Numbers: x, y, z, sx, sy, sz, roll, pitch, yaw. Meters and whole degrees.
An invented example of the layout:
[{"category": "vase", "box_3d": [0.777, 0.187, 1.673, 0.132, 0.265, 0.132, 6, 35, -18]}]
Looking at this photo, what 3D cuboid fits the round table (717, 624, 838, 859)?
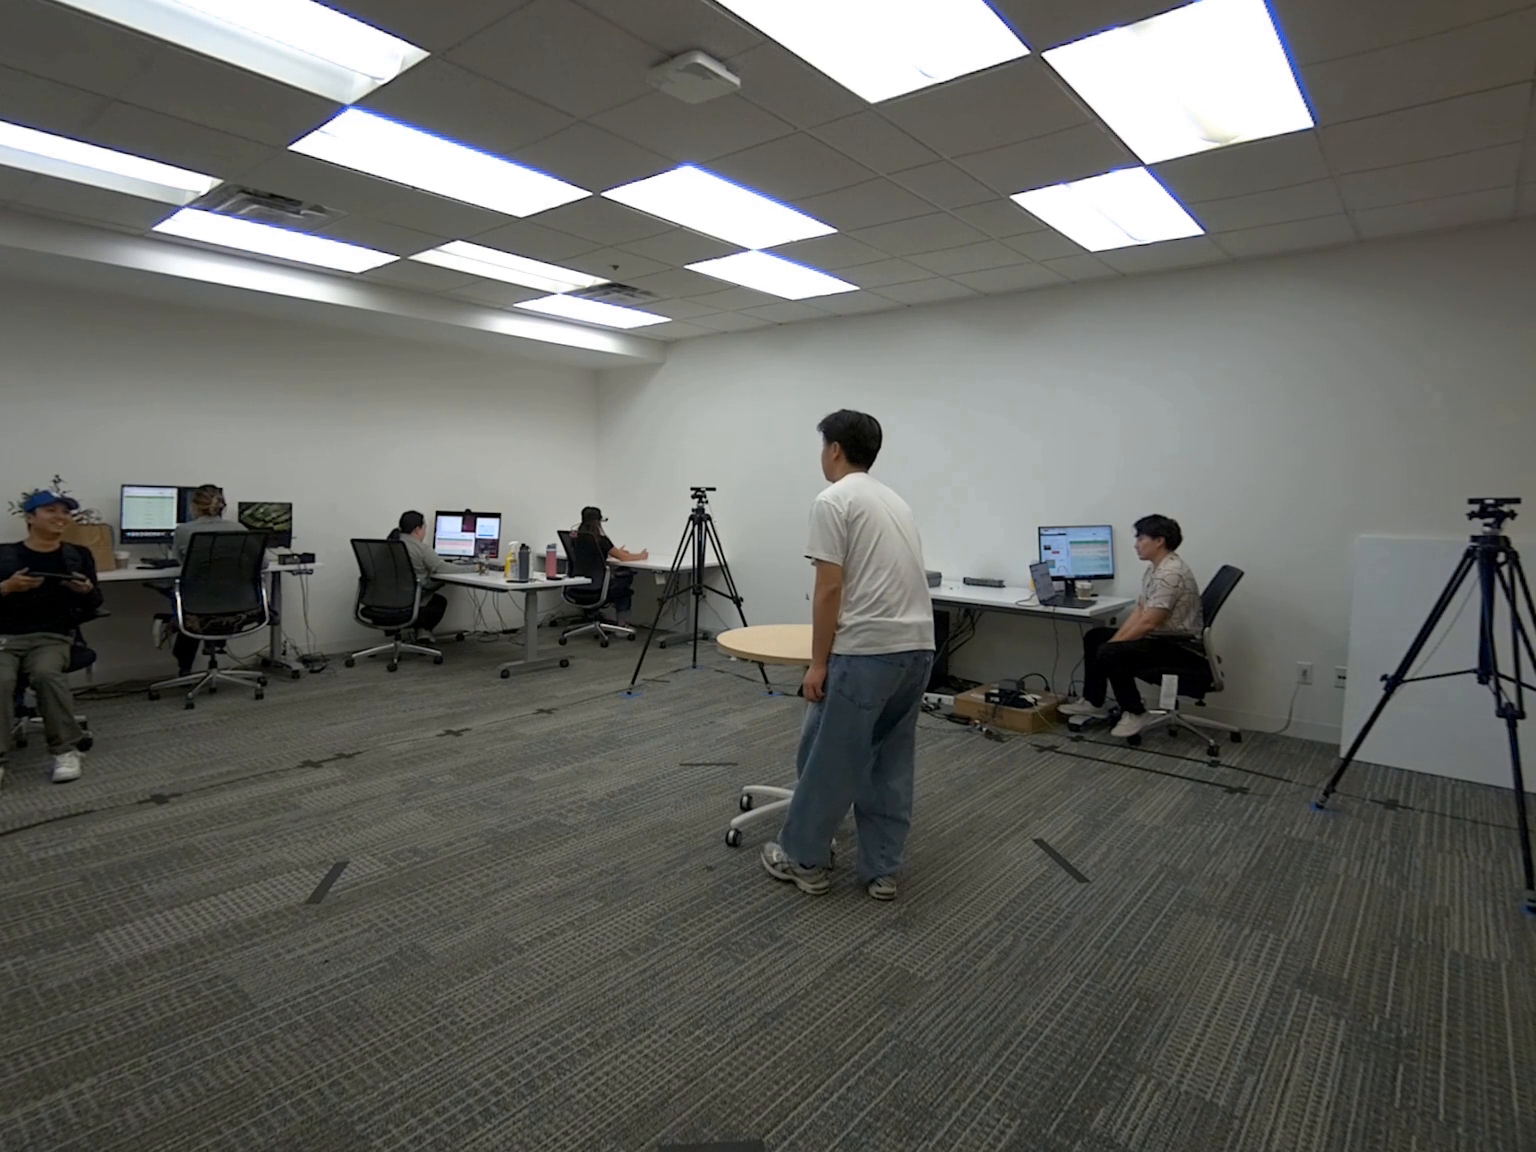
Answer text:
[{"category": "round table", "box_3d": [0.144, 0.648, 3.466, 0.763, 0.791, 0.768, 1, 4, -2]}]
